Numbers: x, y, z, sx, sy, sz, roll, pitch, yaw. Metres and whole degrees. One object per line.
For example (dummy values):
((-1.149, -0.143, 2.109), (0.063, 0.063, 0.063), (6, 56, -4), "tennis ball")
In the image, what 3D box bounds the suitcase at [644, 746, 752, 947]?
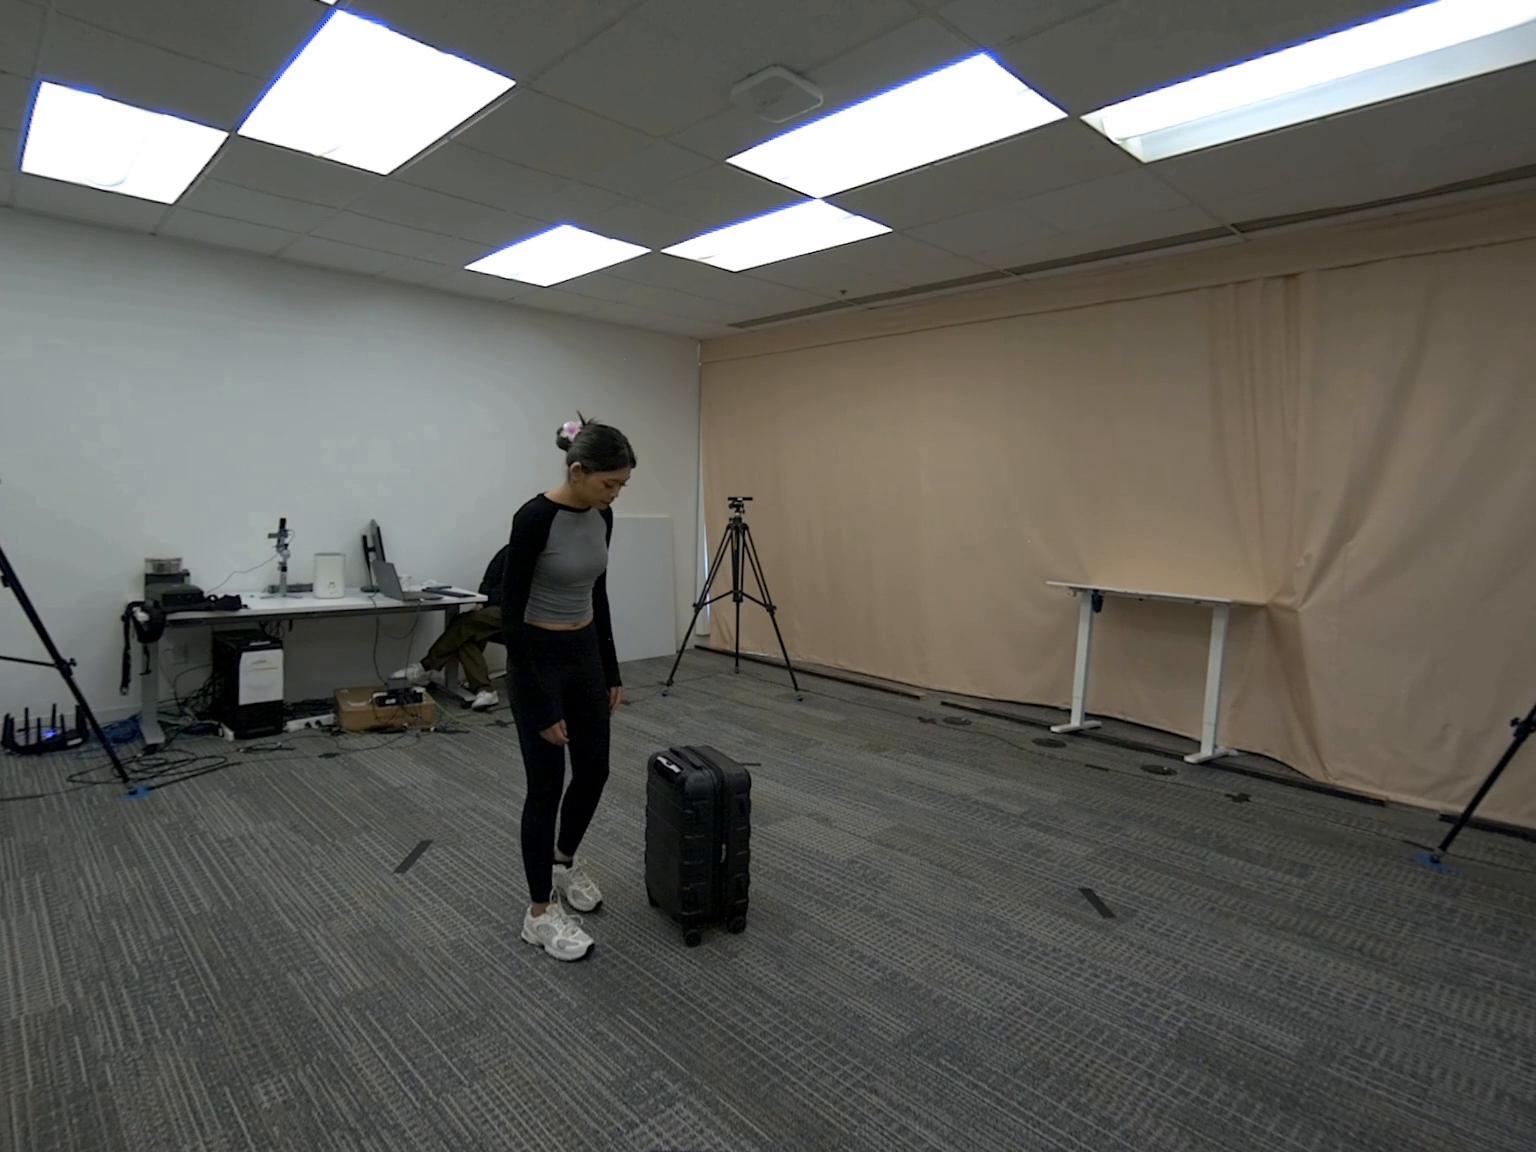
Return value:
((-0.244, 0.854, 2.788), (0.243, 0.548, 0.383), (0, 3, -29), "suitcase")
